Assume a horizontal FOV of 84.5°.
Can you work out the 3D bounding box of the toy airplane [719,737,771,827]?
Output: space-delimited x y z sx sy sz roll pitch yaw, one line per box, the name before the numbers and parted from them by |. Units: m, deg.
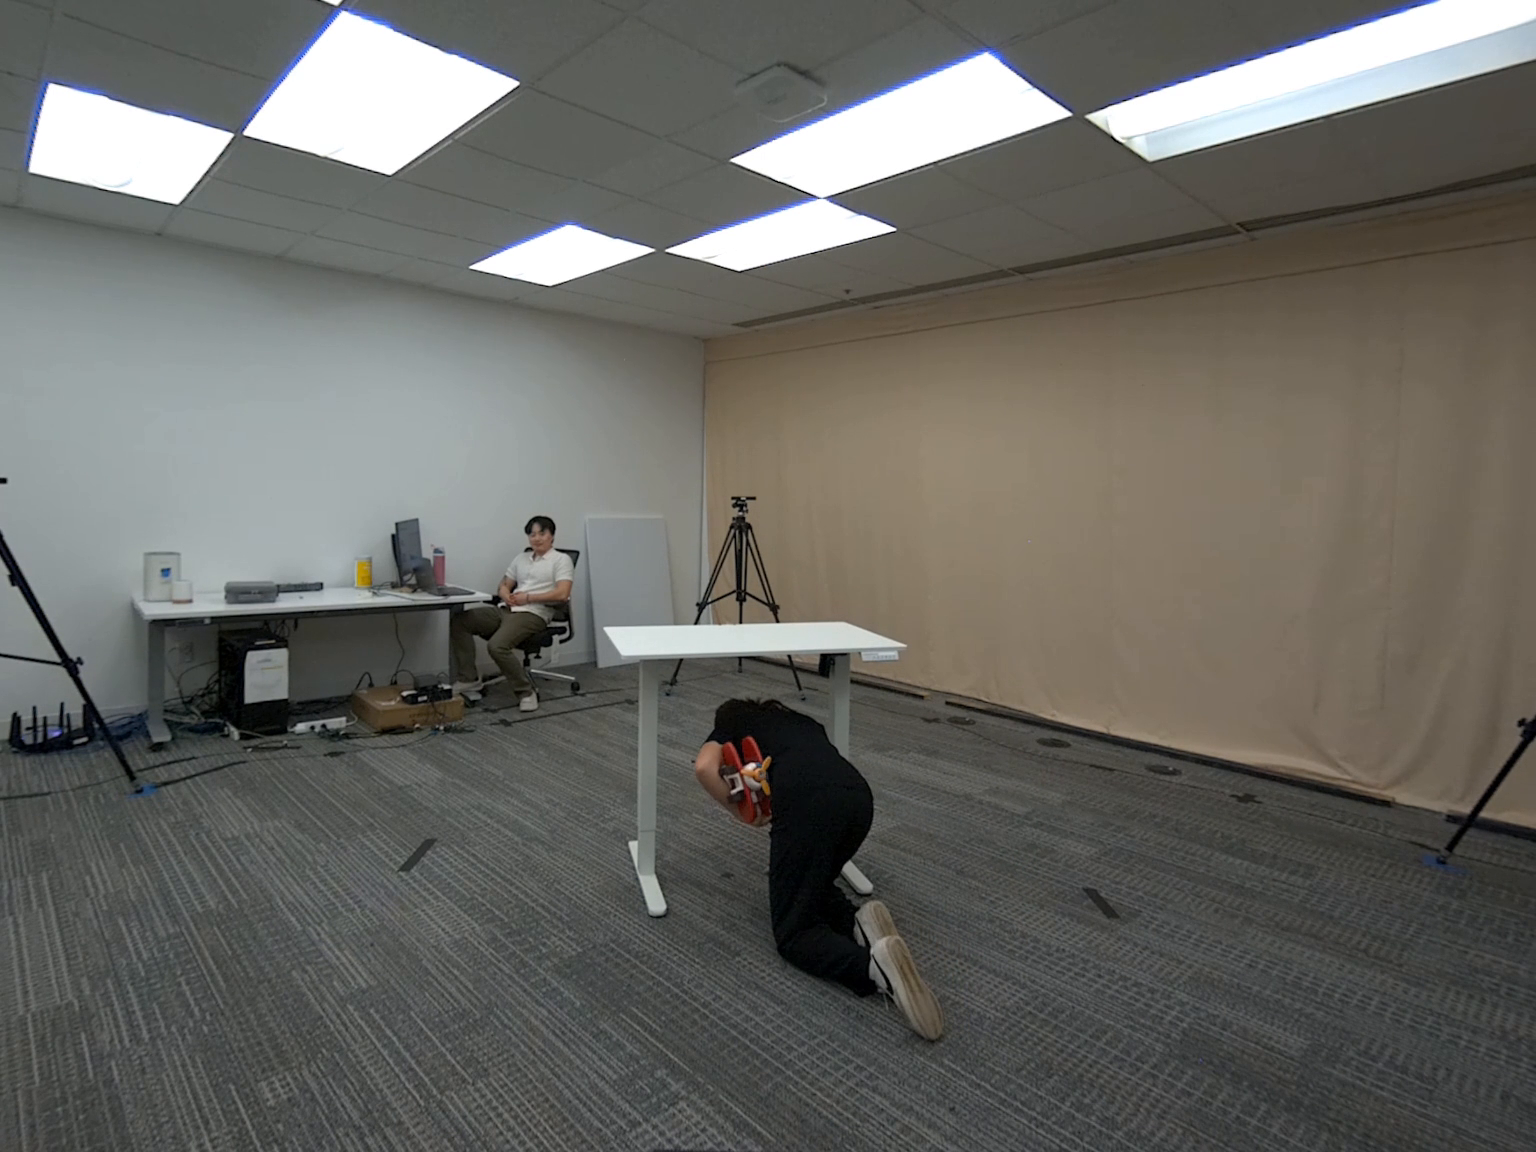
toy airplane | -0.110 0.642 2.731 0.154 0.248 0.265 -11 14 -22
